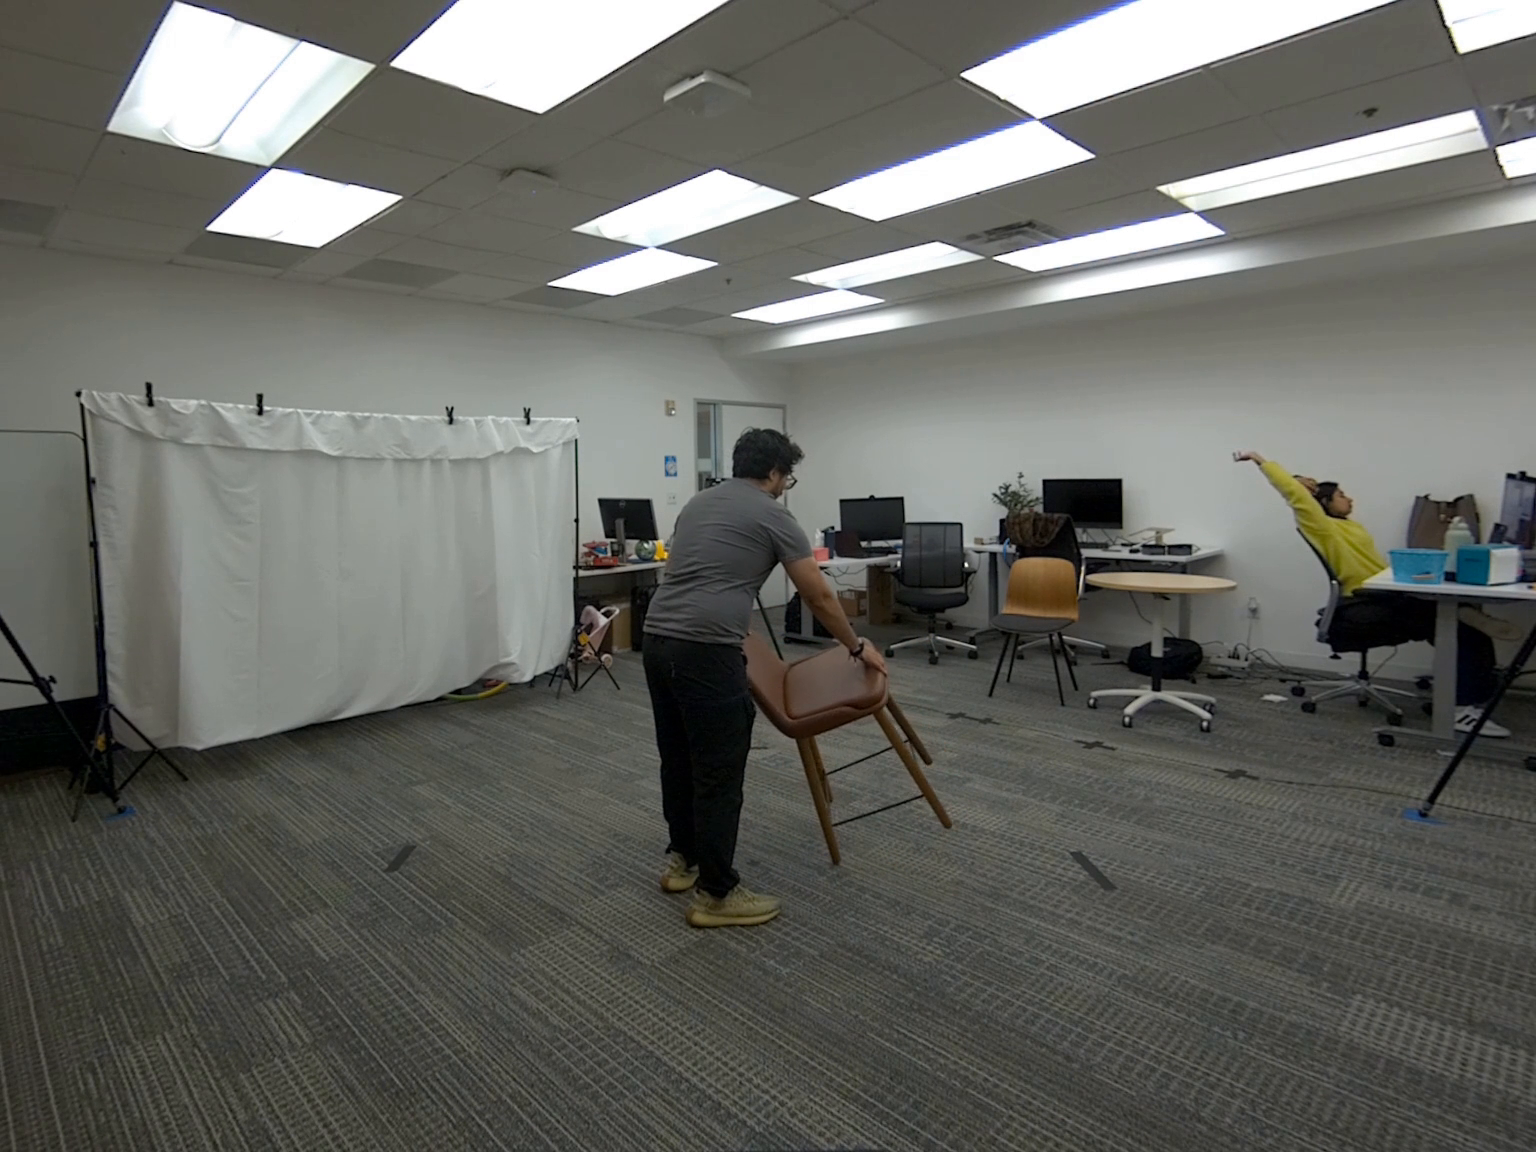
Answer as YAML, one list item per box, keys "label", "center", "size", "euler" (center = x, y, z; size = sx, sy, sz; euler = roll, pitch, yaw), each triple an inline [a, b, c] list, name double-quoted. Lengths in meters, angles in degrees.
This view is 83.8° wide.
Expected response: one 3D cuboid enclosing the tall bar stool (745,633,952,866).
- label: "tall bar stool"
  center: [0.267, 0.534, 3.105]
  size: [0.470, 0.871, 0.463]
  euler: [-24, 18, 11]
